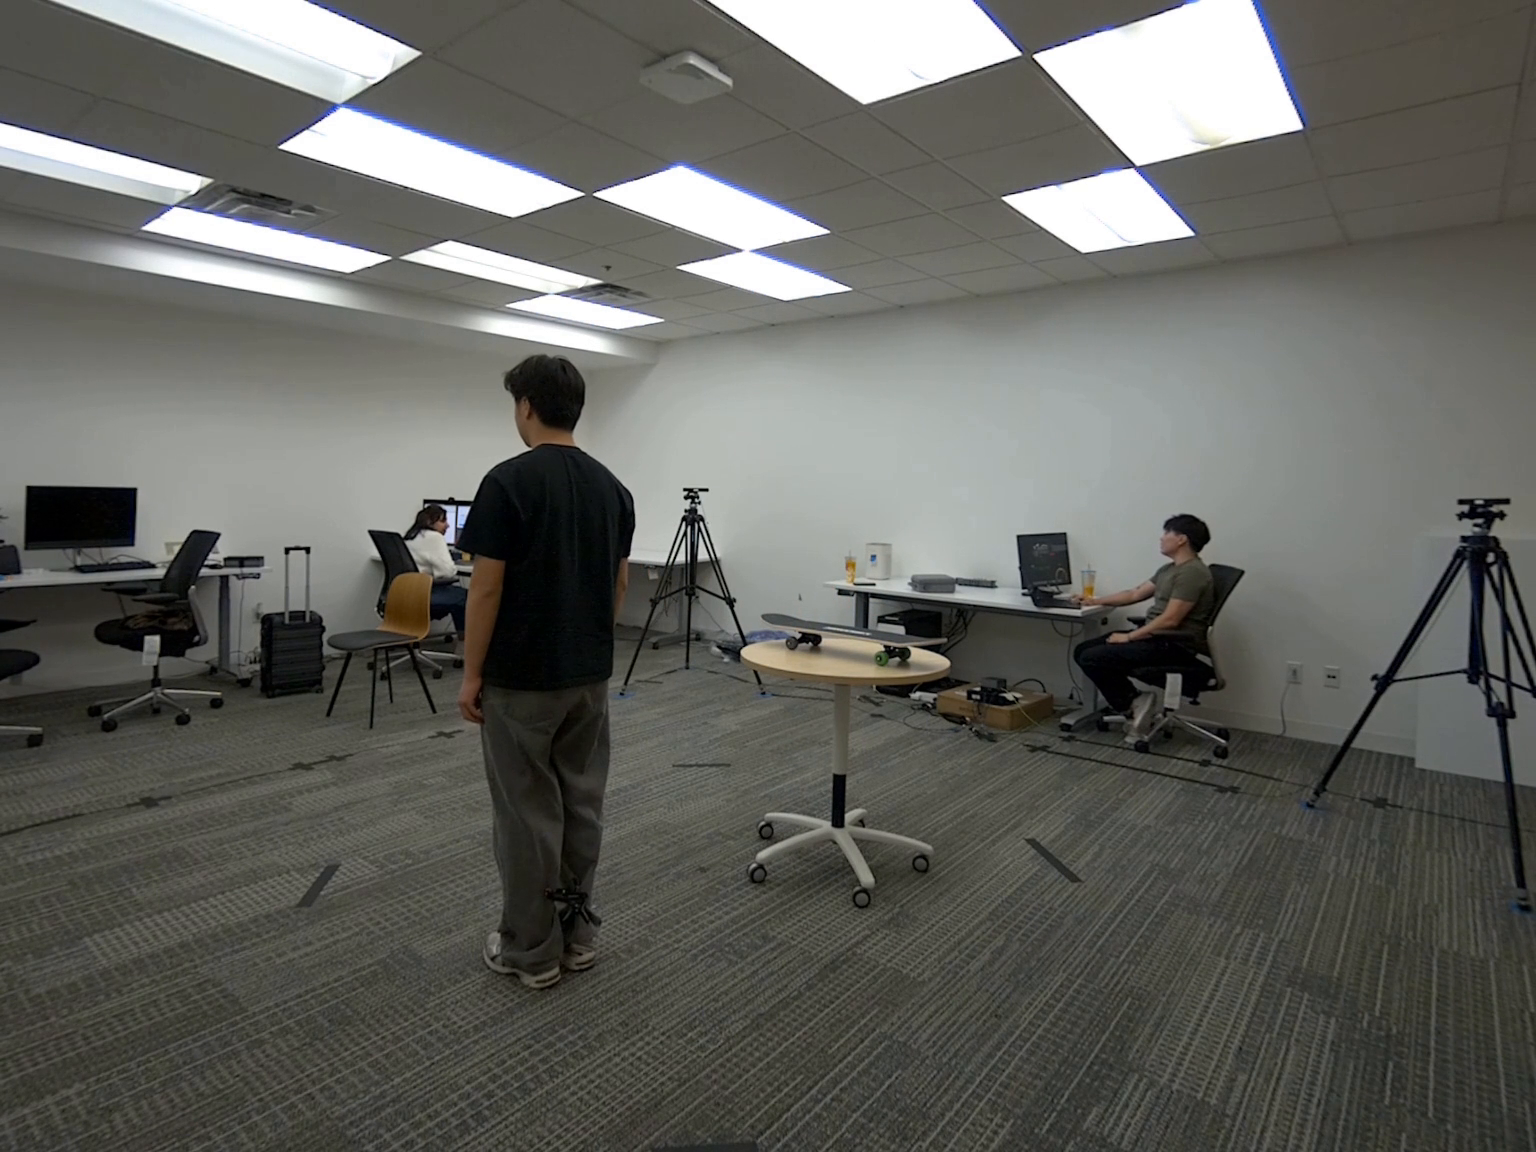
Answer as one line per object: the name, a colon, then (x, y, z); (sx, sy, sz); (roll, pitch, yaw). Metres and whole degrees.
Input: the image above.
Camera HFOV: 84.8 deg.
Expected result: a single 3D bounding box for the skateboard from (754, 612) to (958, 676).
skateboard: (0.305, 0.241, 3.170); (0.813, 0.110, 0.187); (6, 6, 43)
